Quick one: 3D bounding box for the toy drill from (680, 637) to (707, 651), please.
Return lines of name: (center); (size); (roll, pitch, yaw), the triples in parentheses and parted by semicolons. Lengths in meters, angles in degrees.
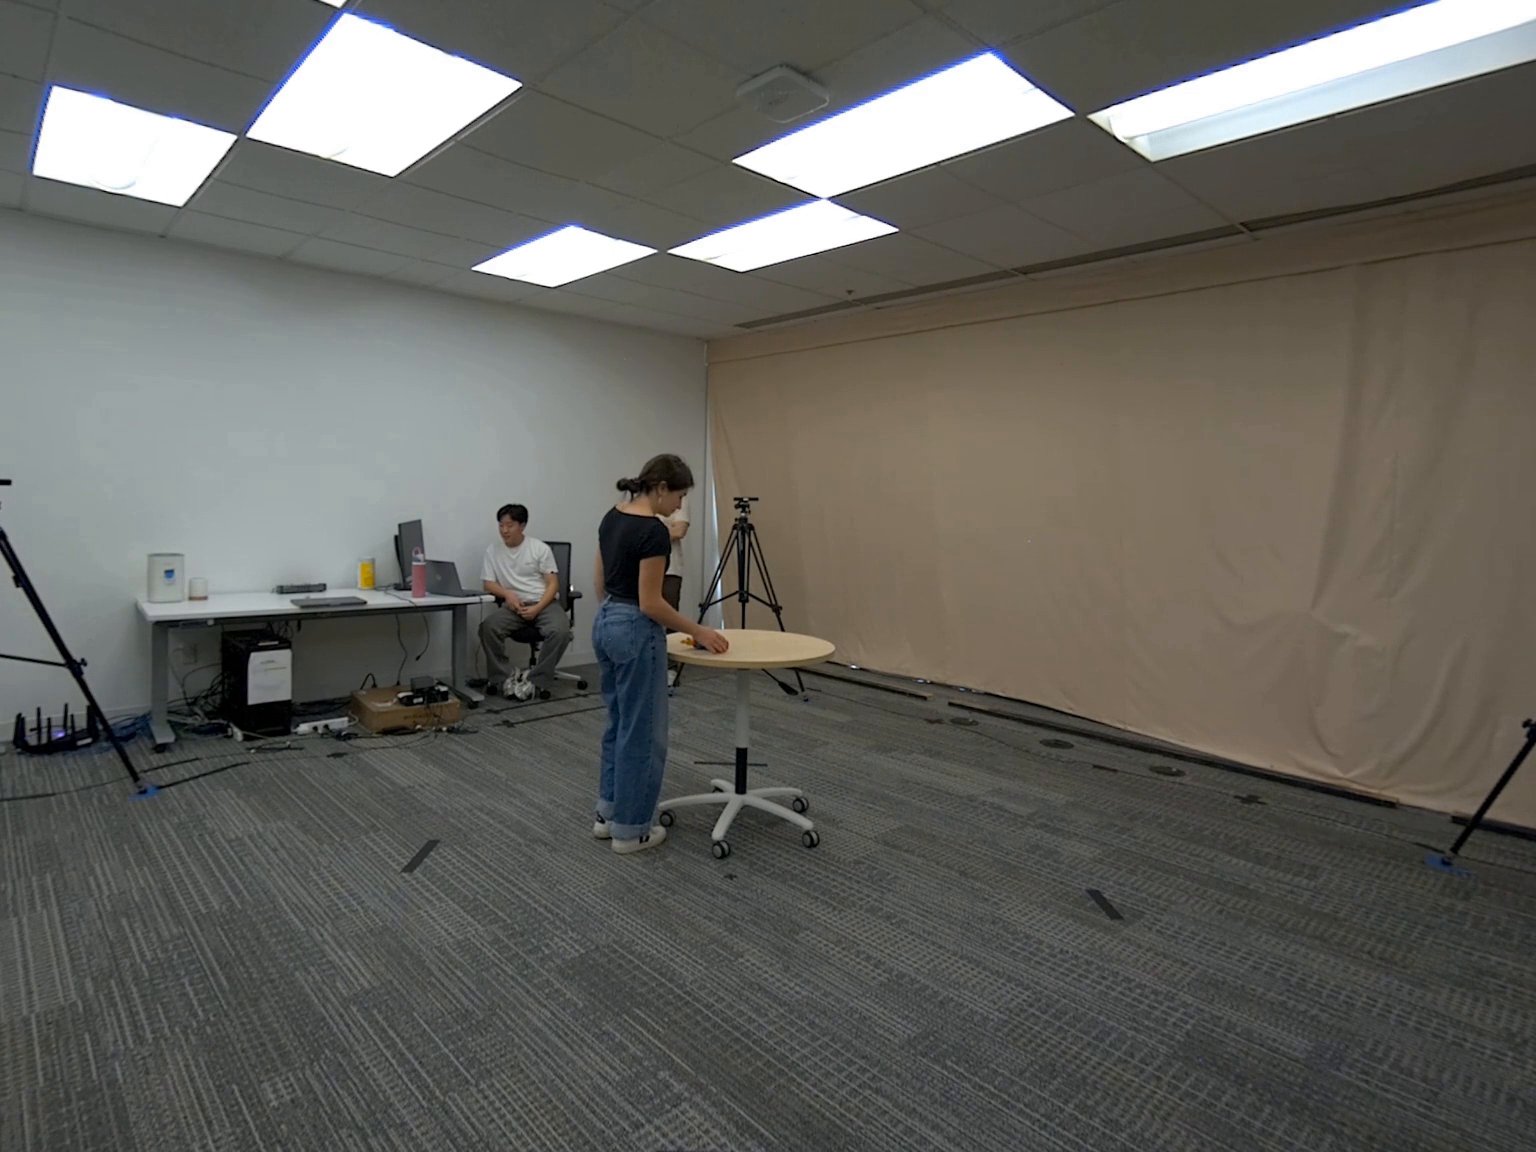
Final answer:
toy drill: (-0.264, 0.273, 3.374); (0.165, 0.061, 0.150); (6, 2, -41)
